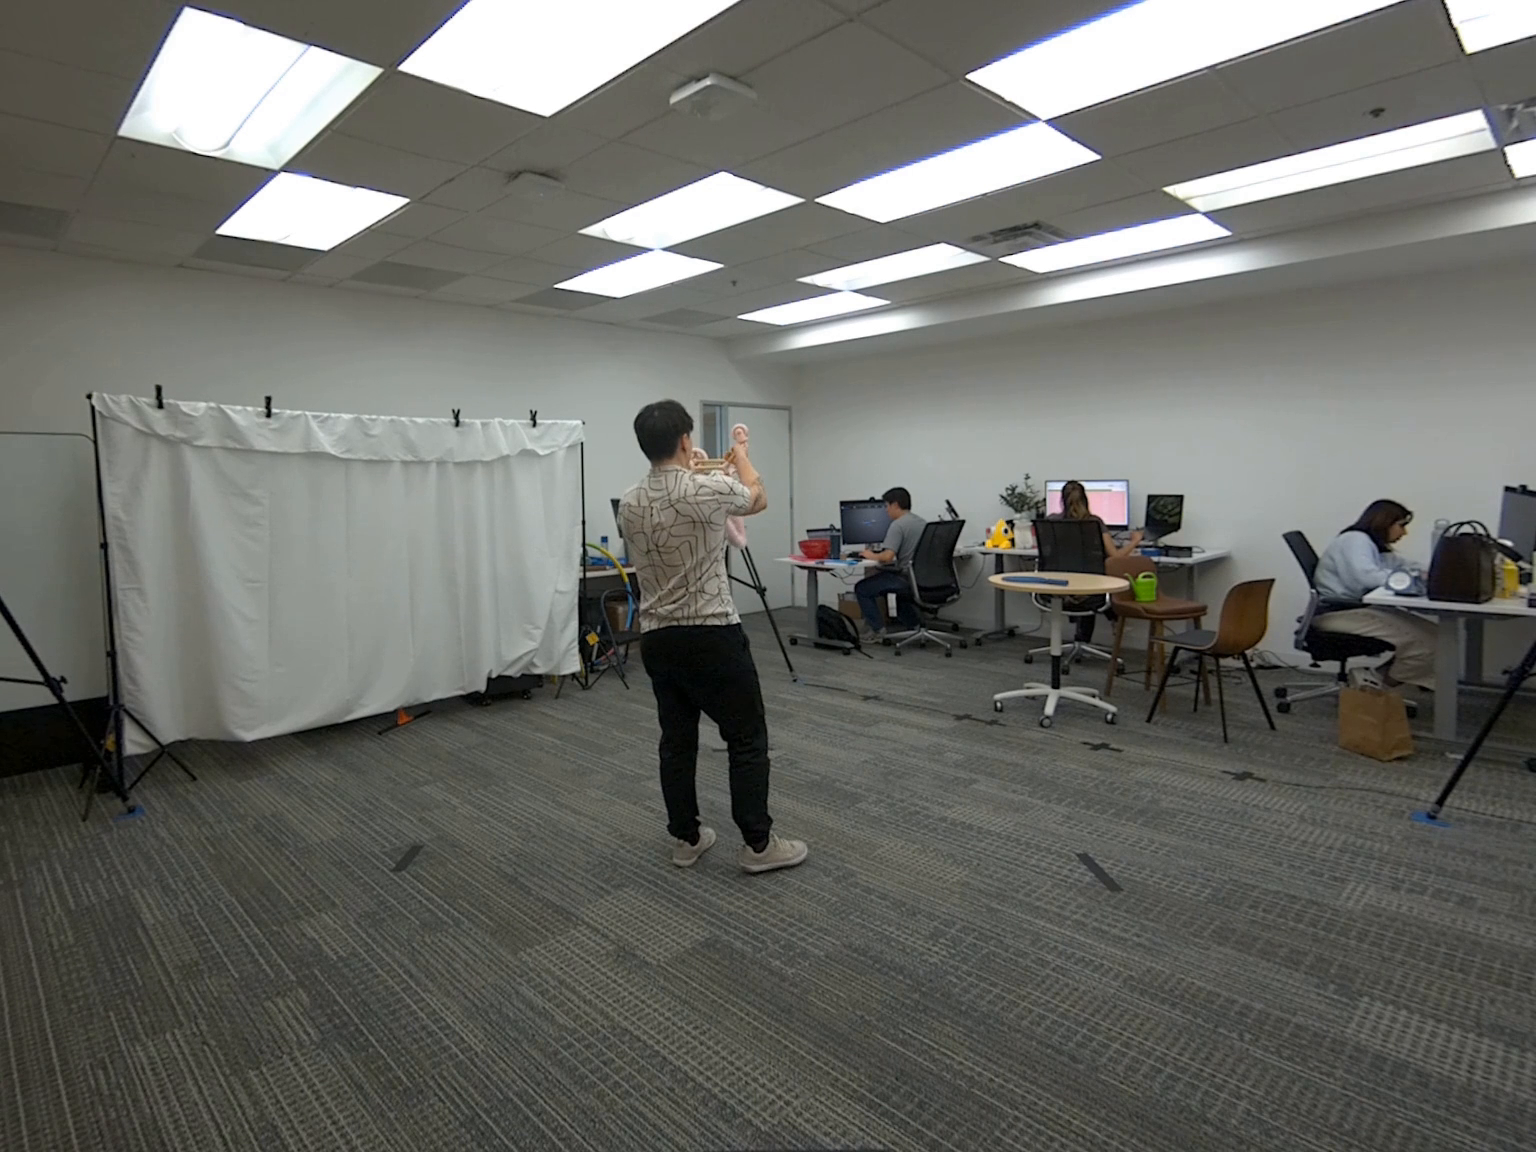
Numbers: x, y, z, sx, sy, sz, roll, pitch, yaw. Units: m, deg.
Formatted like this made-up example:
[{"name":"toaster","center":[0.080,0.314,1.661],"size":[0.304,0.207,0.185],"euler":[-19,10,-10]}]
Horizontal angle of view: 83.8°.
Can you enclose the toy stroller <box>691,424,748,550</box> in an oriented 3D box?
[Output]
[{"name":"toy stroller","center":[-0.181,-0.333,3.519],"size":[0.343,0.529,0.283],"euler":[-12,10,8]}]
